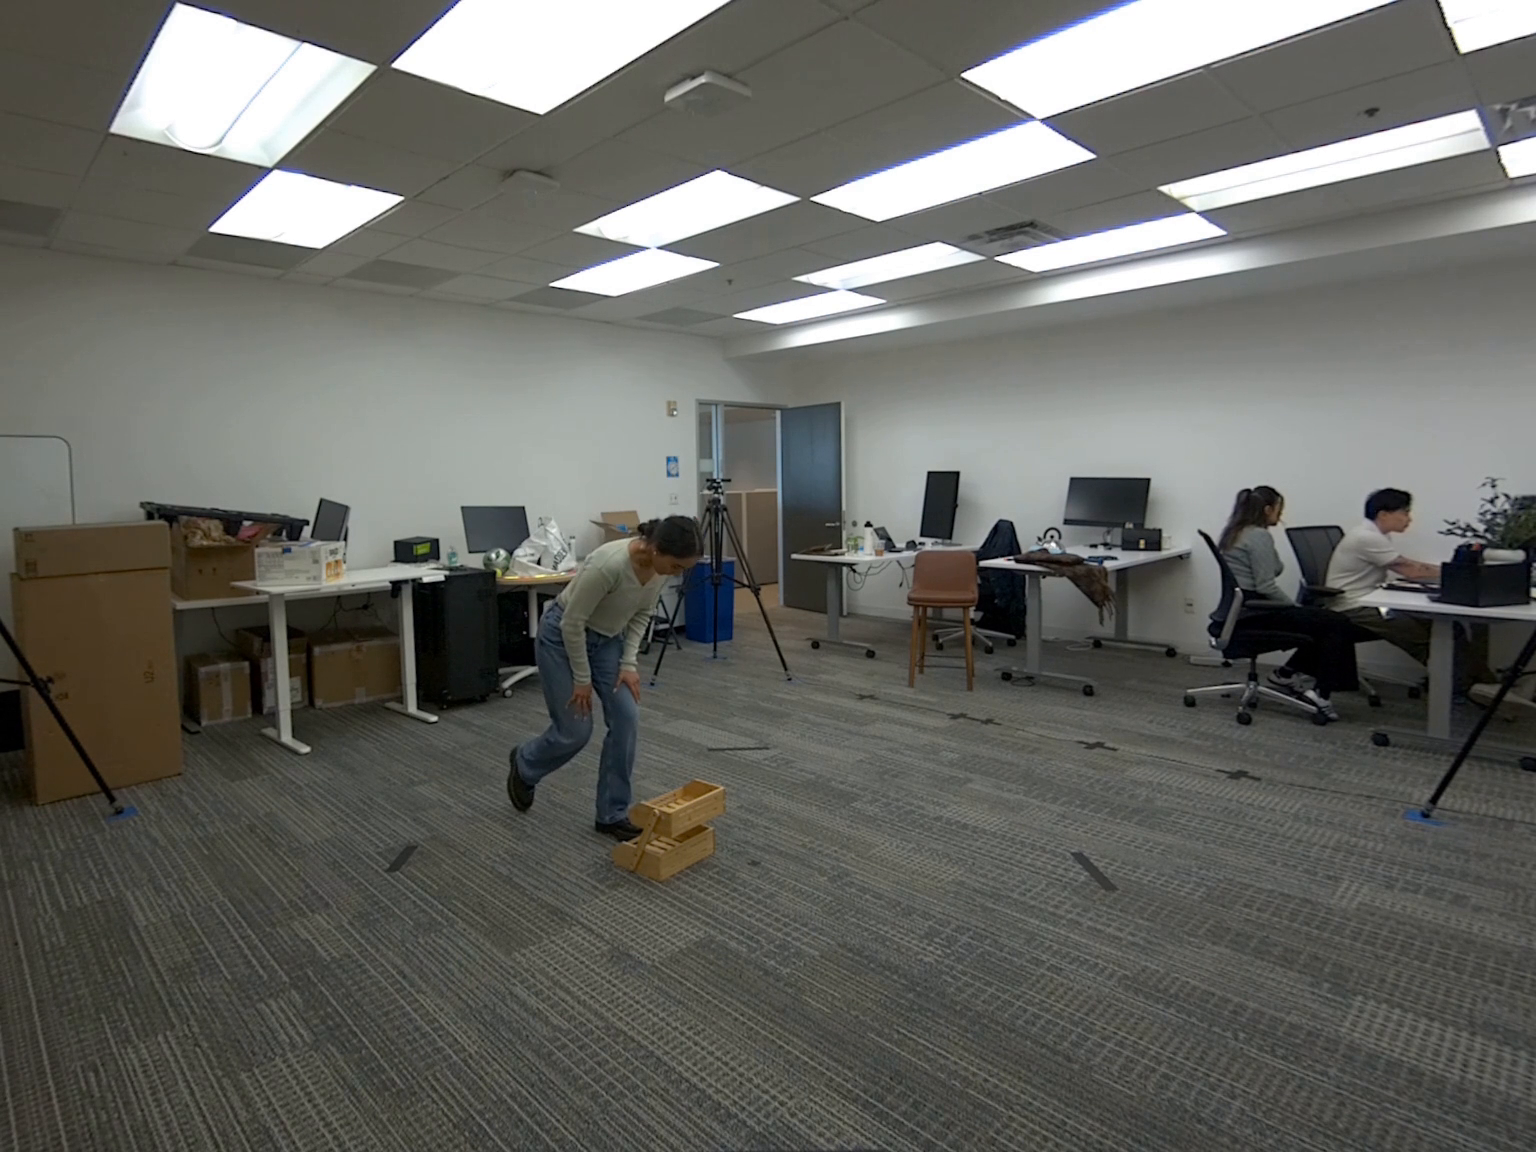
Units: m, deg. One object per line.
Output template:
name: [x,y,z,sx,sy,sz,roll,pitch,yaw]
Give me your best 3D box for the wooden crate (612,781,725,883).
wooden crate: [-0.365,0.911,3.139,0.311,0.272,0.316,4,7,37]
